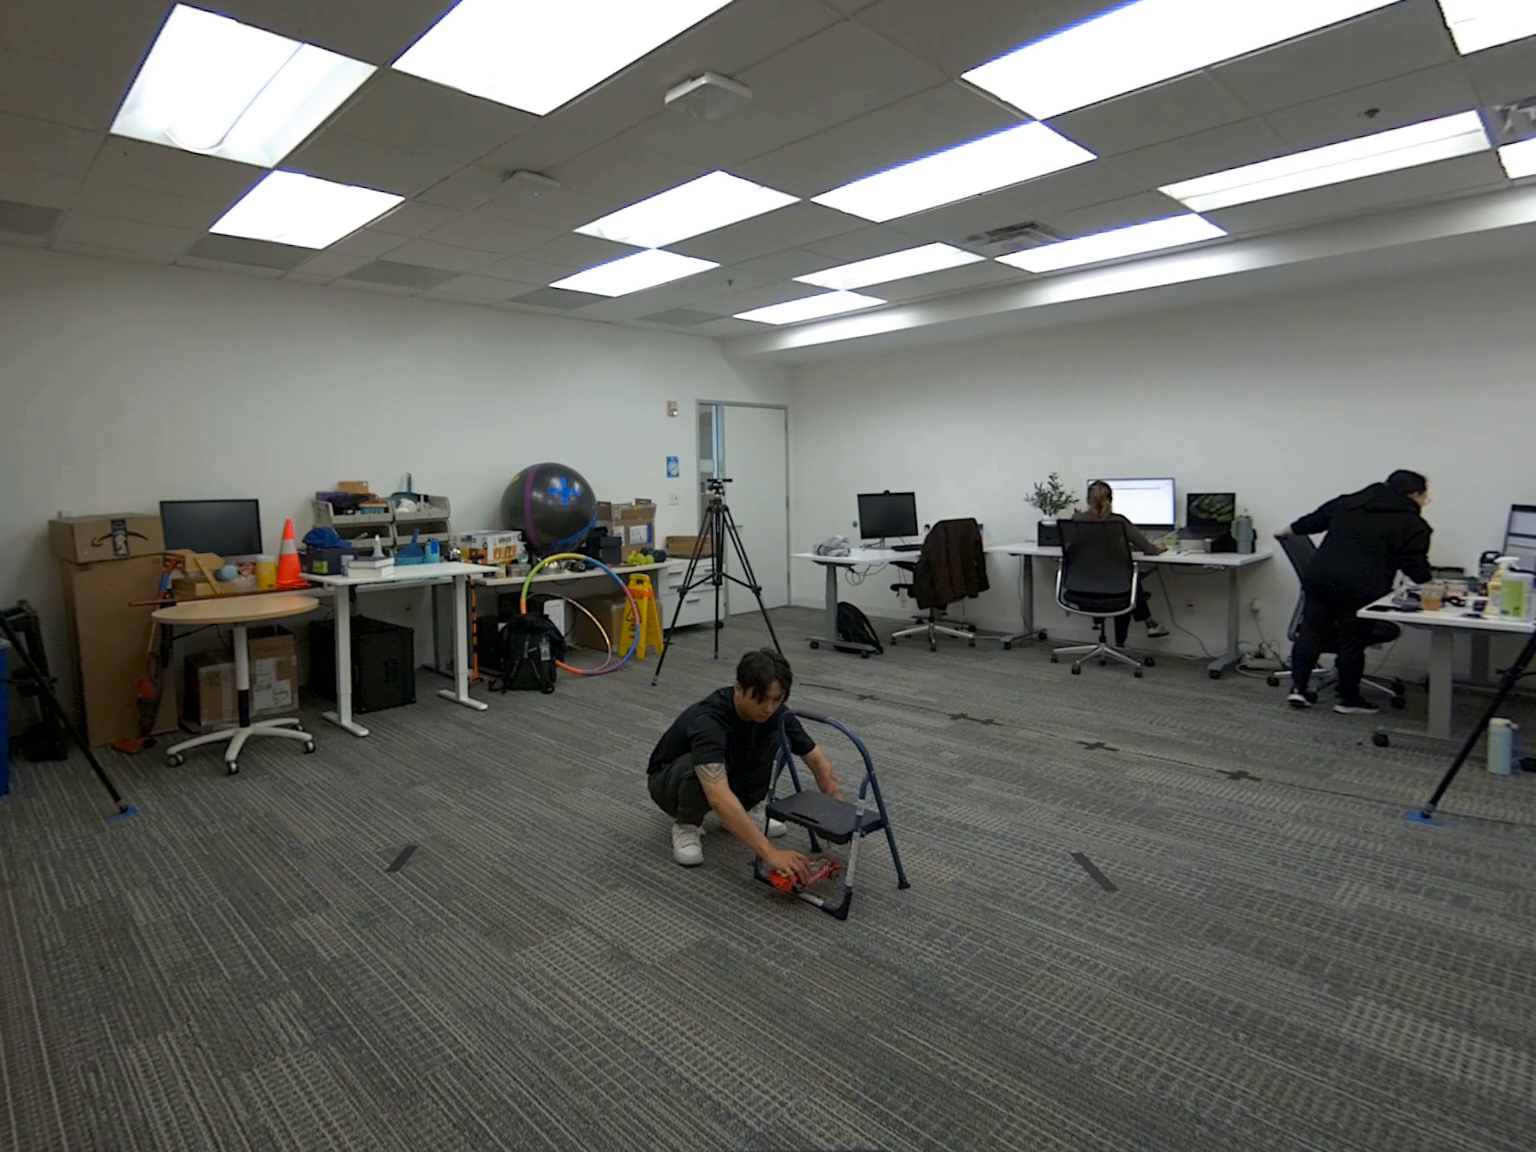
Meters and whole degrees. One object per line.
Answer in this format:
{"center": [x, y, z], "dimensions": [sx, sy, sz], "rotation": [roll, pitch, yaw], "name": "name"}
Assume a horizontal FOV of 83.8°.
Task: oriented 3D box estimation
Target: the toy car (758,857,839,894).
{"center": [0.108, 1.003, 2.845], "dimensions": [0.248, 0.083, 0.133], "rotation": [2, 2, -28], "name": "toy car"}
